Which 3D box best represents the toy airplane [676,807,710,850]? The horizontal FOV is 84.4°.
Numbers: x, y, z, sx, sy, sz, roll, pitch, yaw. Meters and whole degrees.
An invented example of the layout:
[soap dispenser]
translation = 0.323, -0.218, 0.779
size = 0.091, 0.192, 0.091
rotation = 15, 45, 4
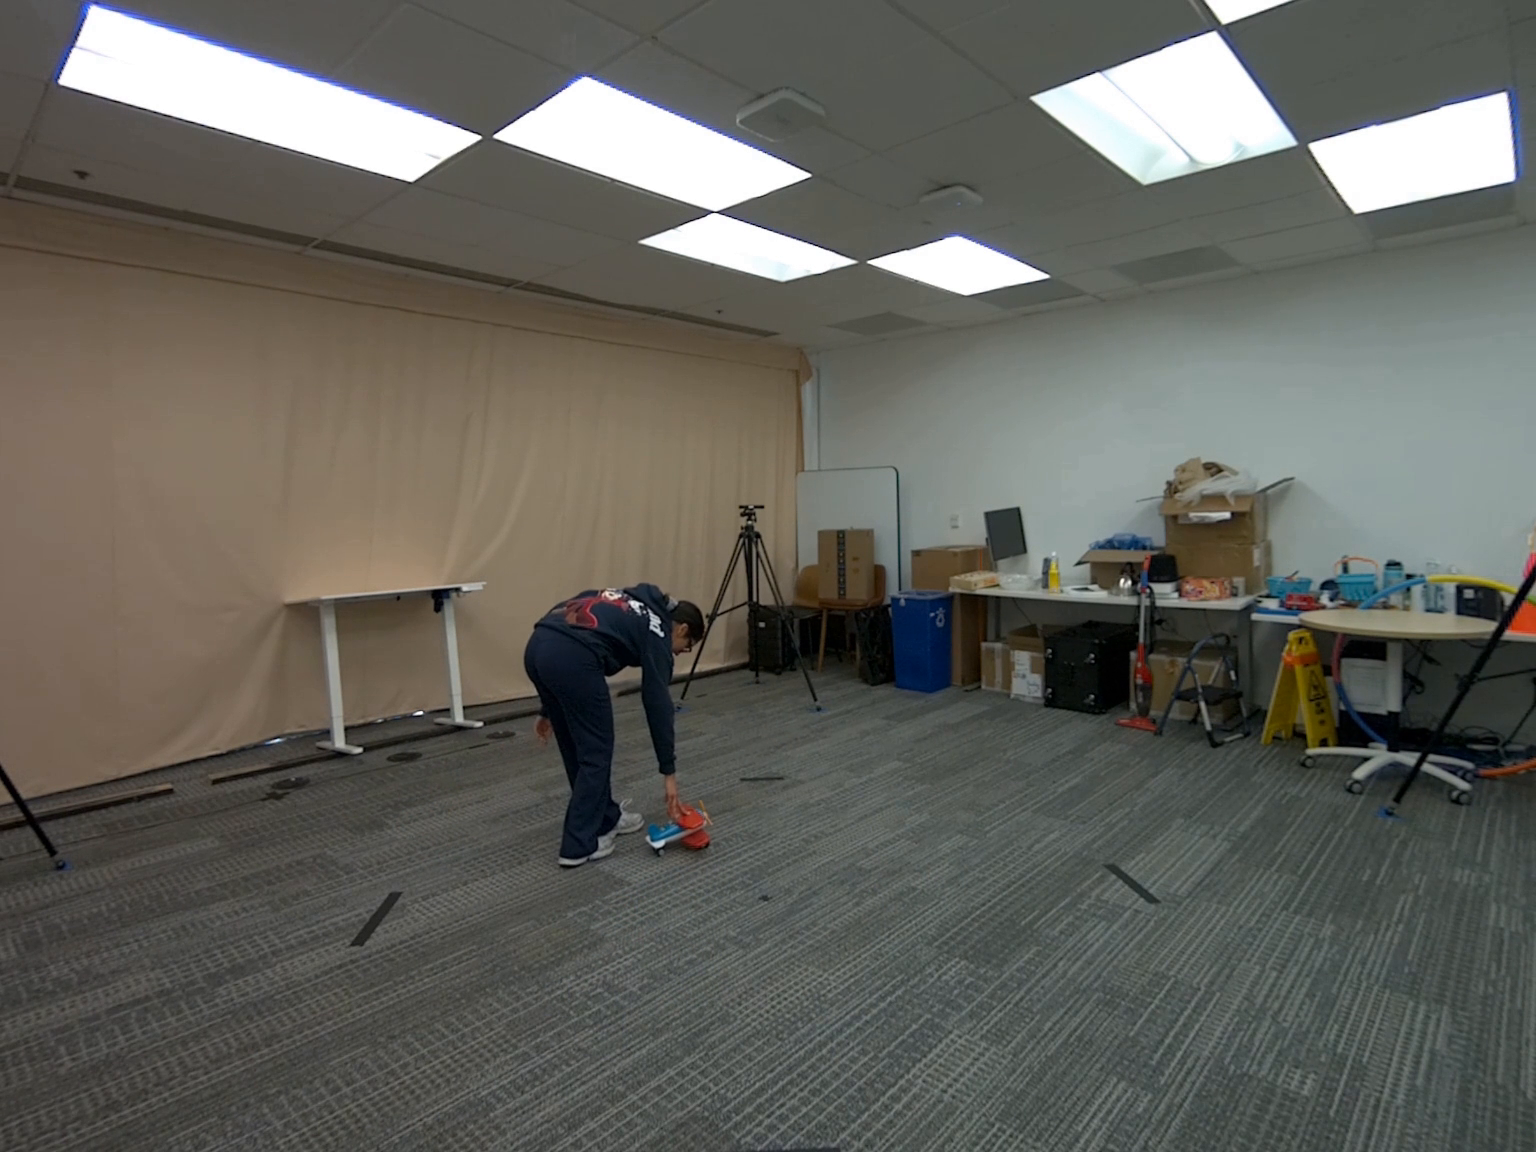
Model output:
[toy airplane]
translation = -0.348, 1.037, 3.401
size = 0.259, 0.156, 0.252
rotation = 1, 4, 34
